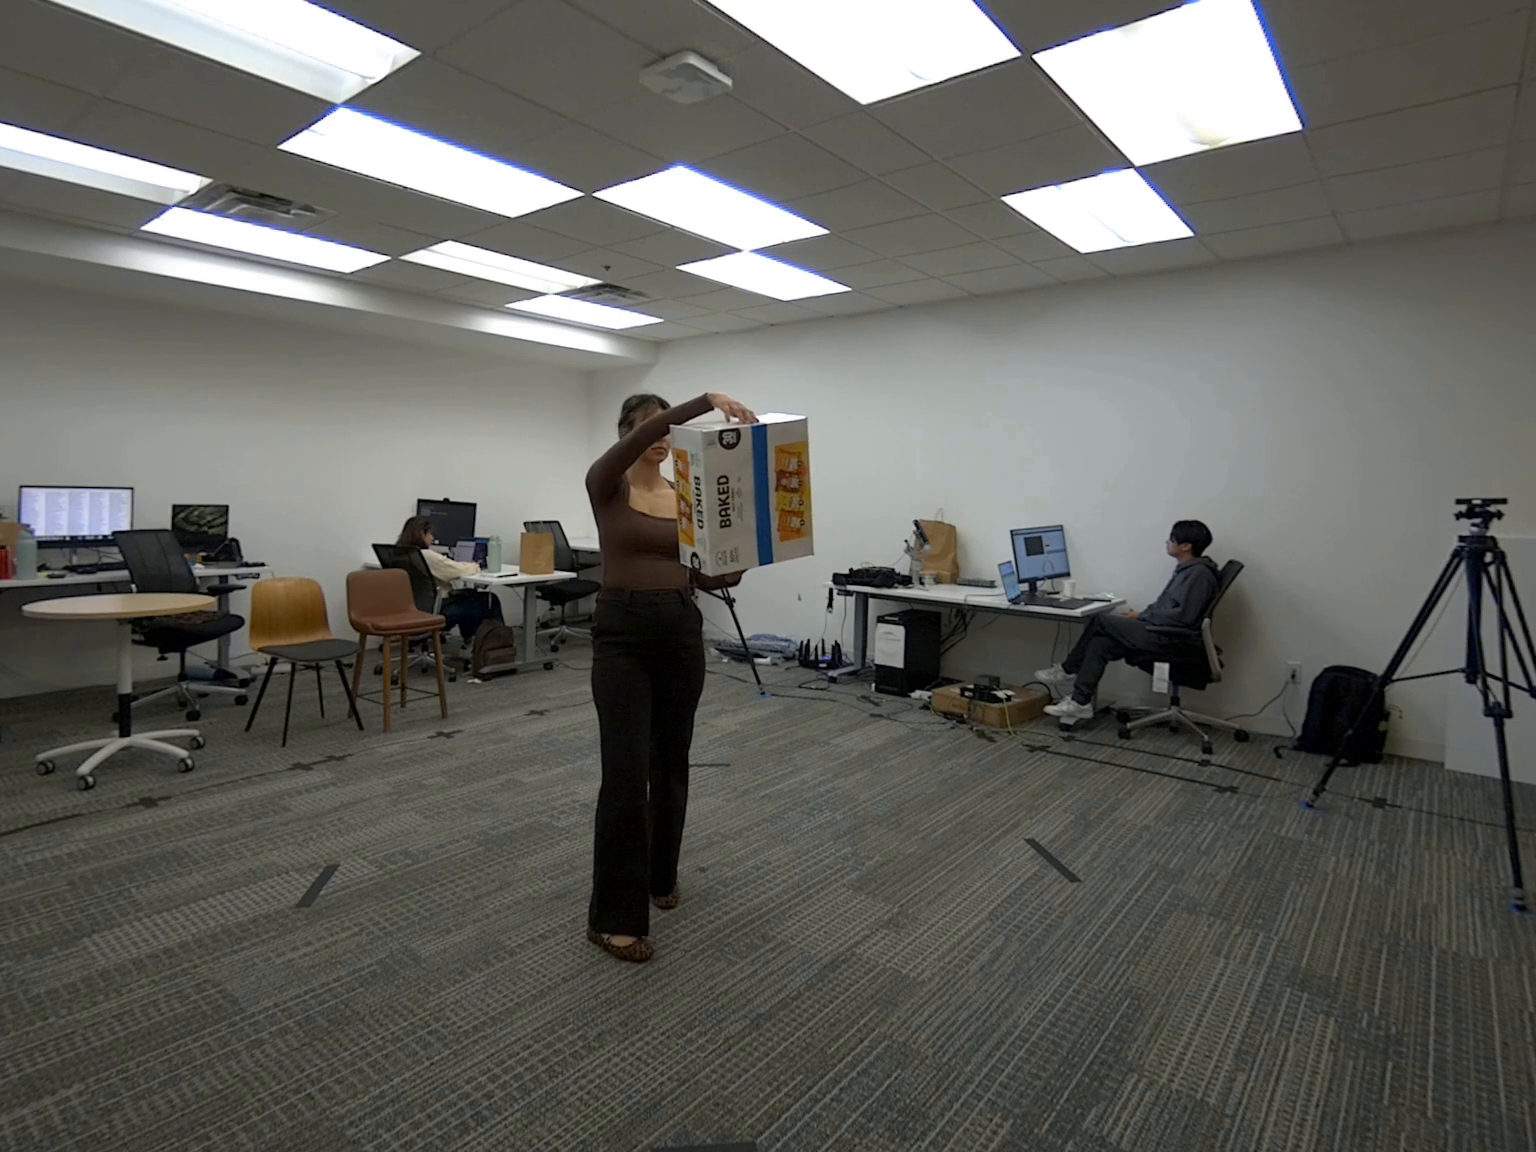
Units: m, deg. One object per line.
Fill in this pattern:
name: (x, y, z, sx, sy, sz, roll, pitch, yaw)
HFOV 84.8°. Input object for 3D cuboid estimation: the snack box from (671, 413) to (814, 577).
snack box: (-0.085, -0.247, 2.442, 0.333, 0.400, 0.213, -10, 15, -27)
